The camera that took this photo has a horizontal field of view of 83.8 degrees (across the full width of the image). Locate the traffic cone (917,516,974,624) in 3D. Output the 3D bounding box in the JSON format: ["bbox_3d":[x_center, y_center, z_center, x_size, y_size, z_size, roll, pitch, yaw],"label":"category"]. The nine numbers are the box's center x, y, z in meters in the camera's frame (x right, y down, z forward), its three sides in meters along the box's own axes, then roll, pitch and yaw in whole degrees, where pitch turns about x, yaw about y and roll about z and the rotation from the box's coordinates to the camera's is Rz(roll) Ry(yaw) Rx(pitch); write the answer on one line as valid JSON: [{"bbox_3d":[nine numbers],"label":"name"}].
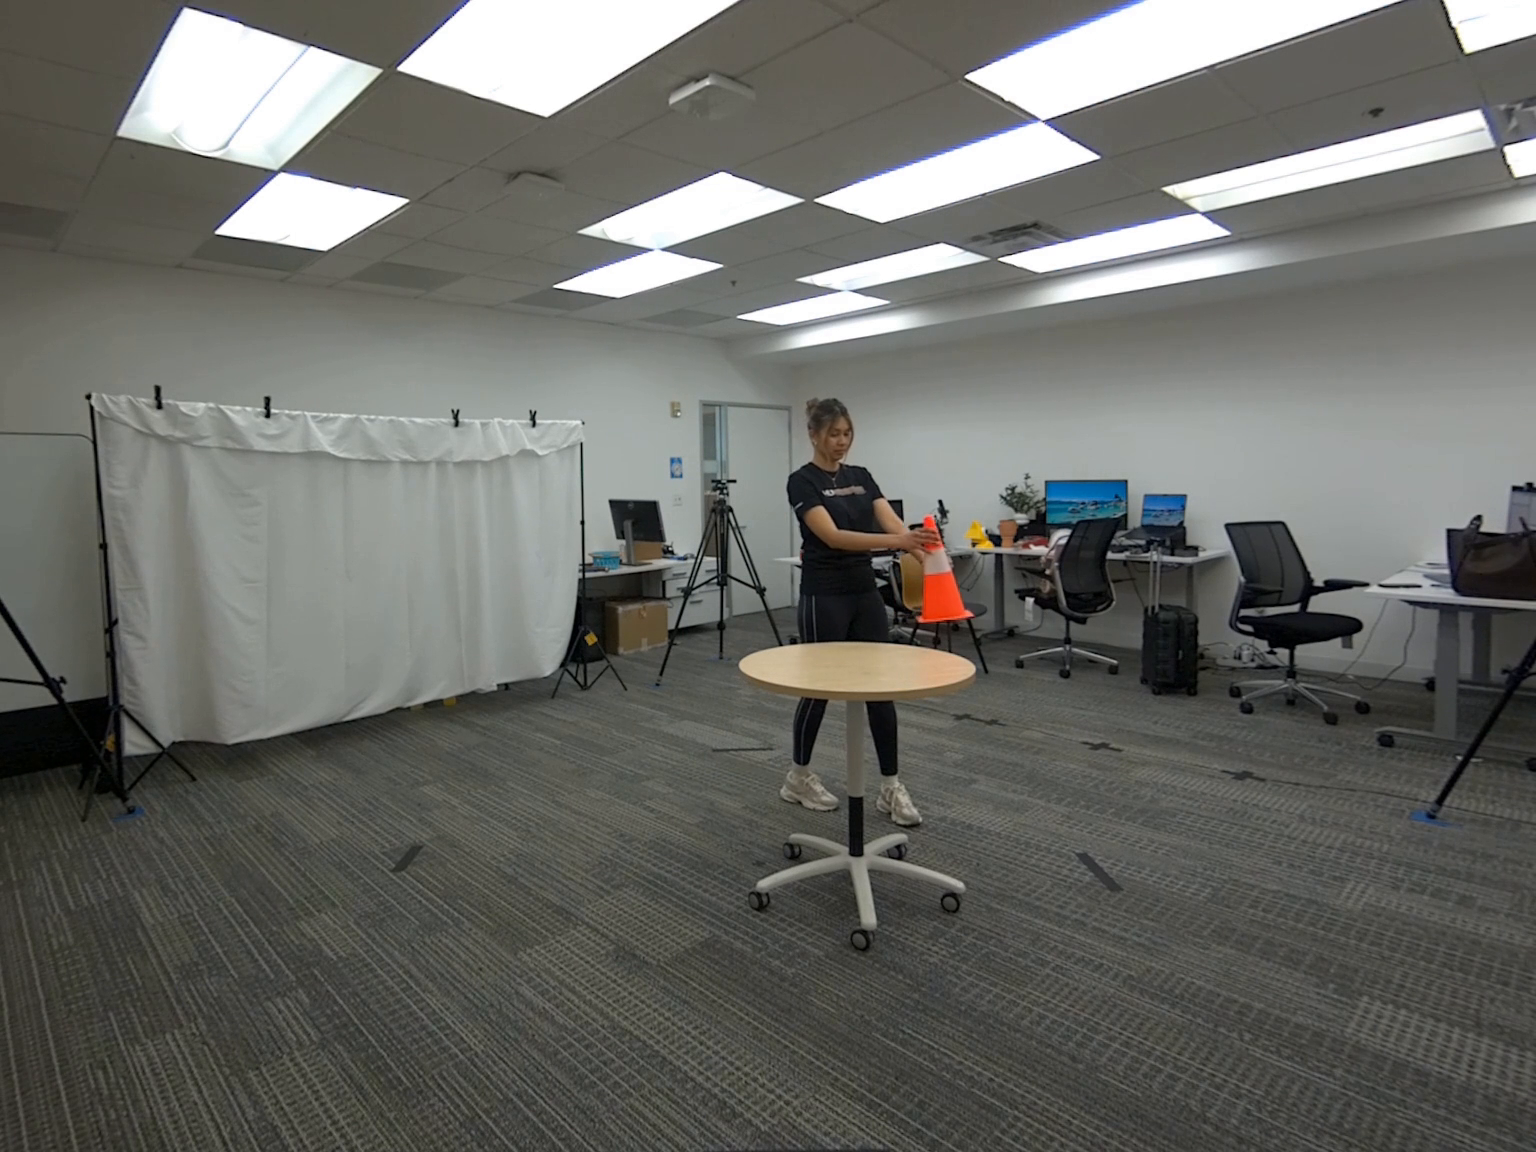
[{"bbox_3d":[0.636,-0.037,3.205,0.205,0.384,0.203,-7,-1,7],"label":"traffic cone"}]
